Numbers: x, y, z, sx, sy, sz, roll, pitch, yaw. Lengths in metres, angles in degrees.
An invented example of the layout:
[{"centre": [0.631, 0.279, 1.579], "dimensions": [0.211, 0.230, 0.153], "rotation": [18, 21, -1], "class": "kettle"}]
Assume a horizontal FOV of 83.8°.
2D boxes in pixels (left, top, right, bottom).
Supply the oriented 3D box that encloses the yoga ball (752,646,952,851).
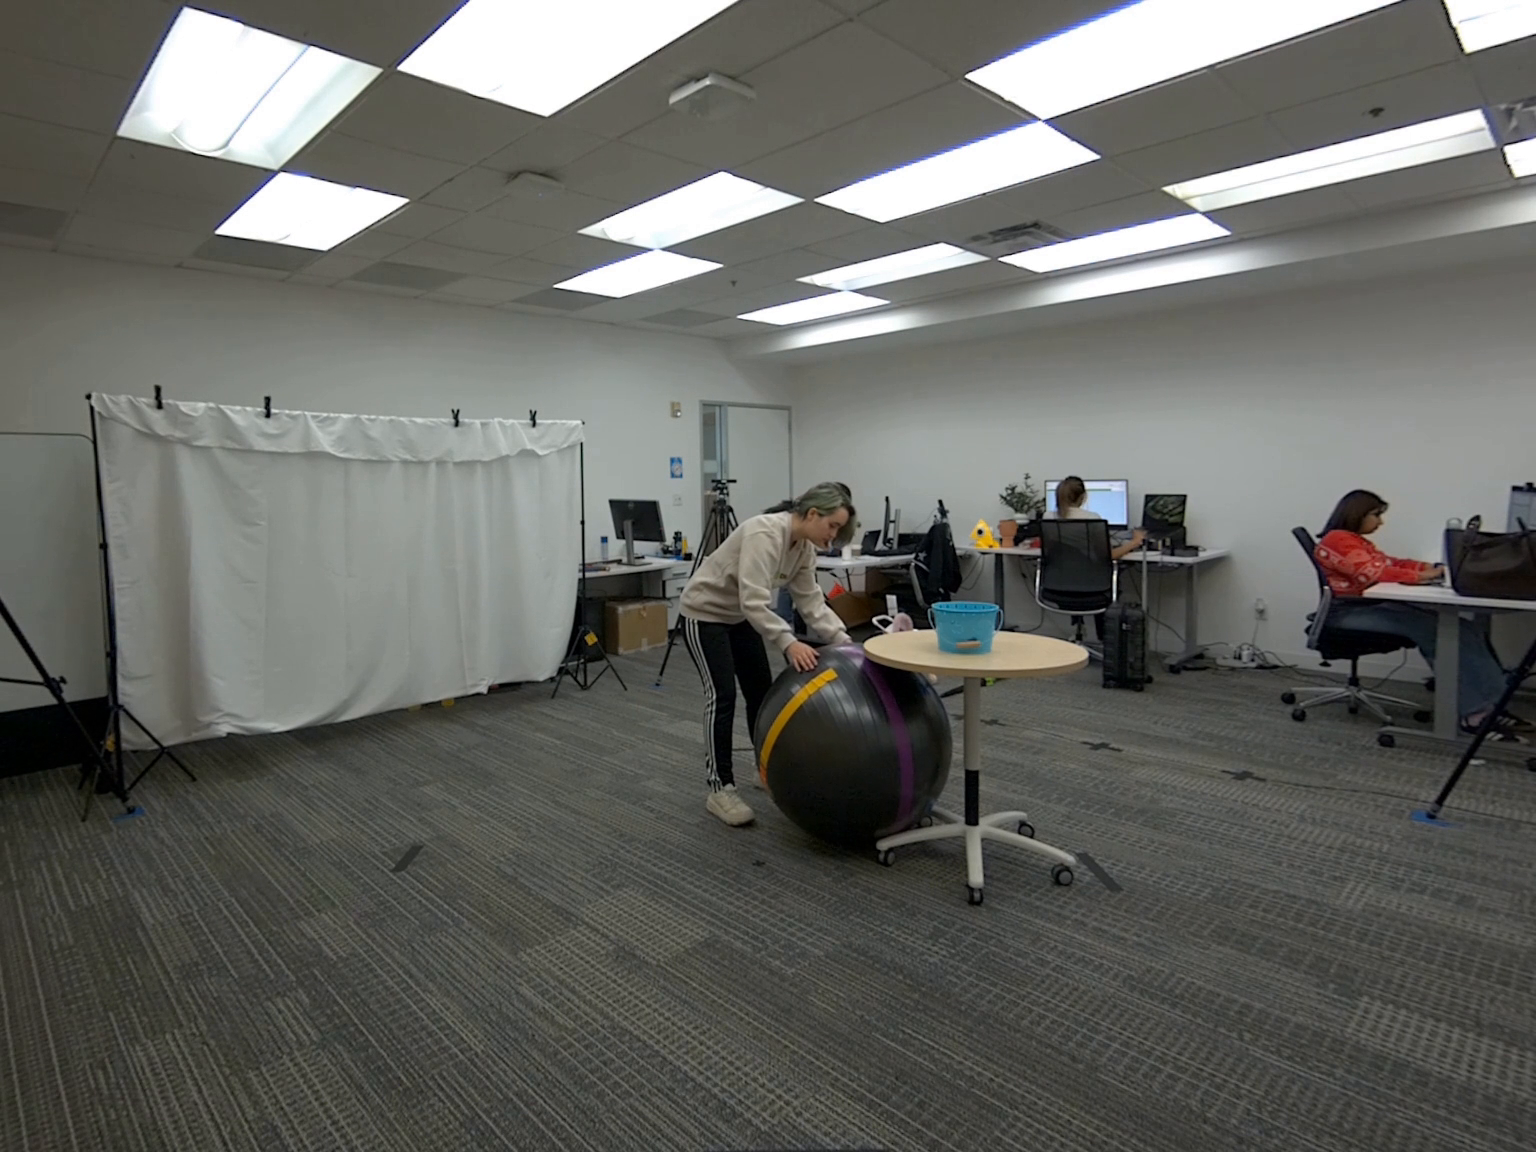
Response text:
[{"centre": [0.320, 0.646, 3.309], "dimensions": [0.757, 0.755, 0.762], "rotation": [-1, 5, -2], "class": "yoga ball"}]
